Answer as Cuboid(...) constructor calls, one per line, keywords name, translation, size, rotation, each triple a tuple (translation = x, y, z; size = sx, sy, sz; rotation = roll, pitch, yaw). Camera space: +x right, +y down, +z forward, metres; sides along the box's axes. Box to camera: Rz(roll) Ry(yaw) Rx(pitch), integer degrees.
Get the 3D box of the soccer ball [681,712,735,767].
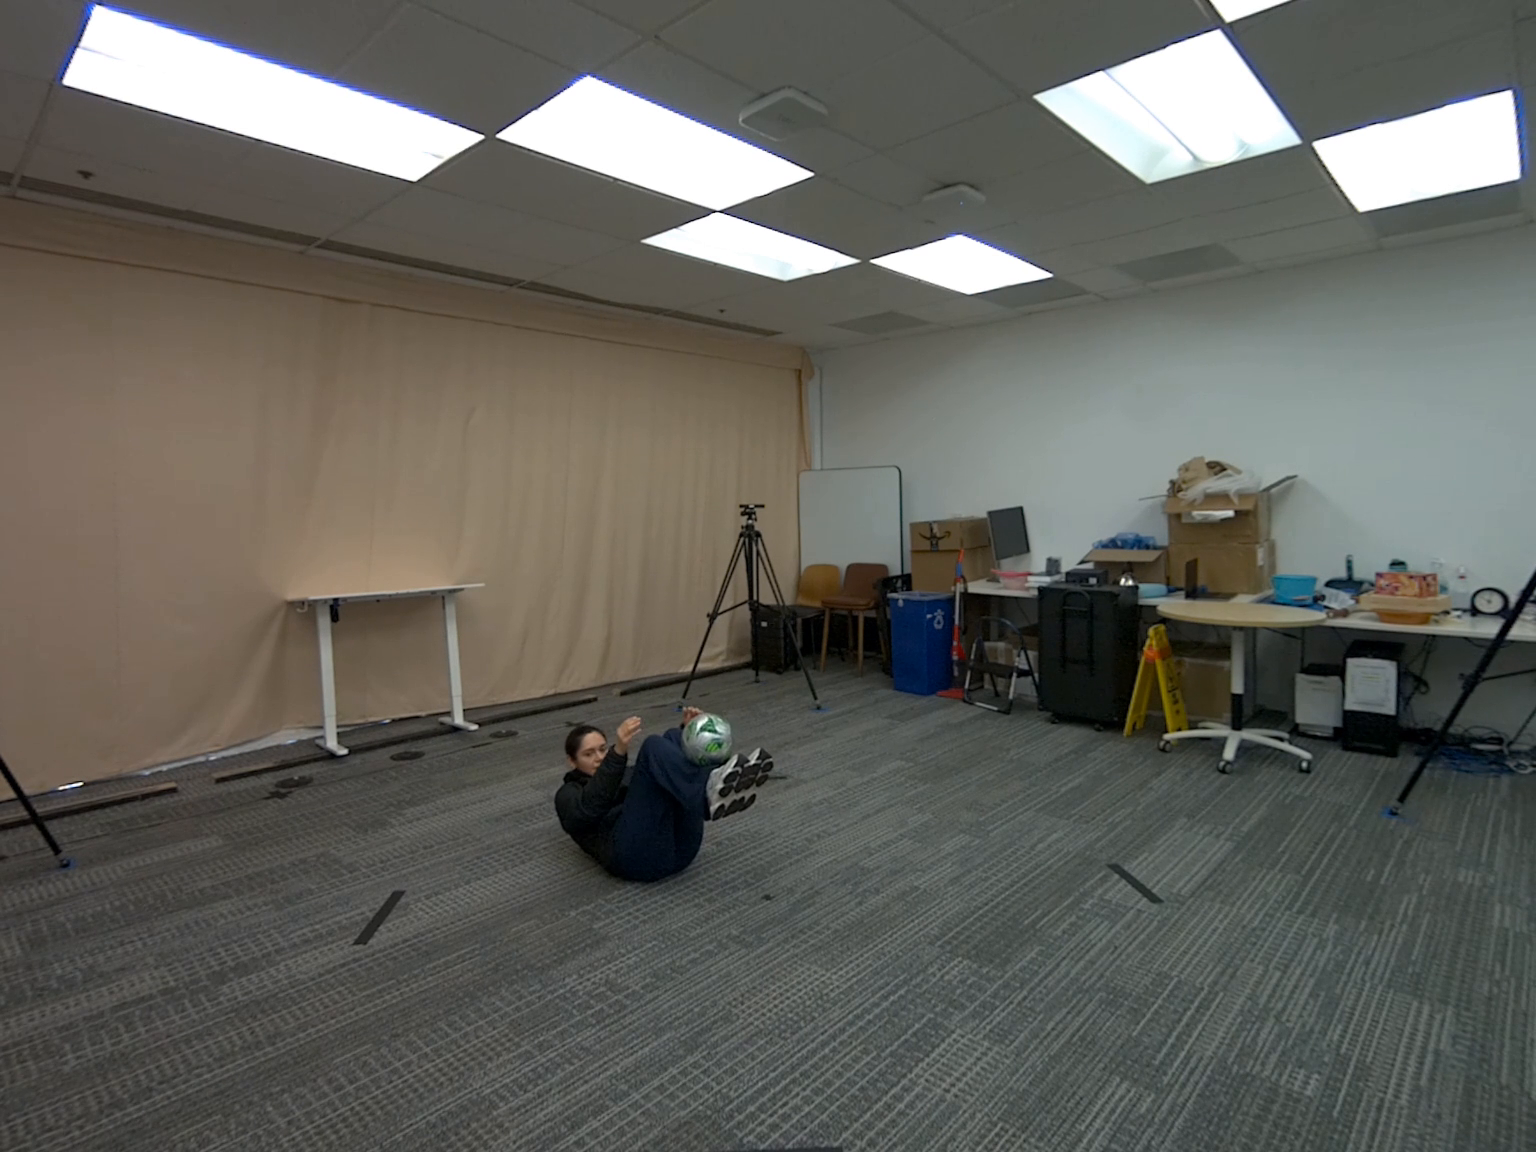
Cuboid(name="soccer ball", translation=(-0.206, 0.572, 2.930), size=(0.187, 0.187, 0.188), rotation=(2, 5, -2))
